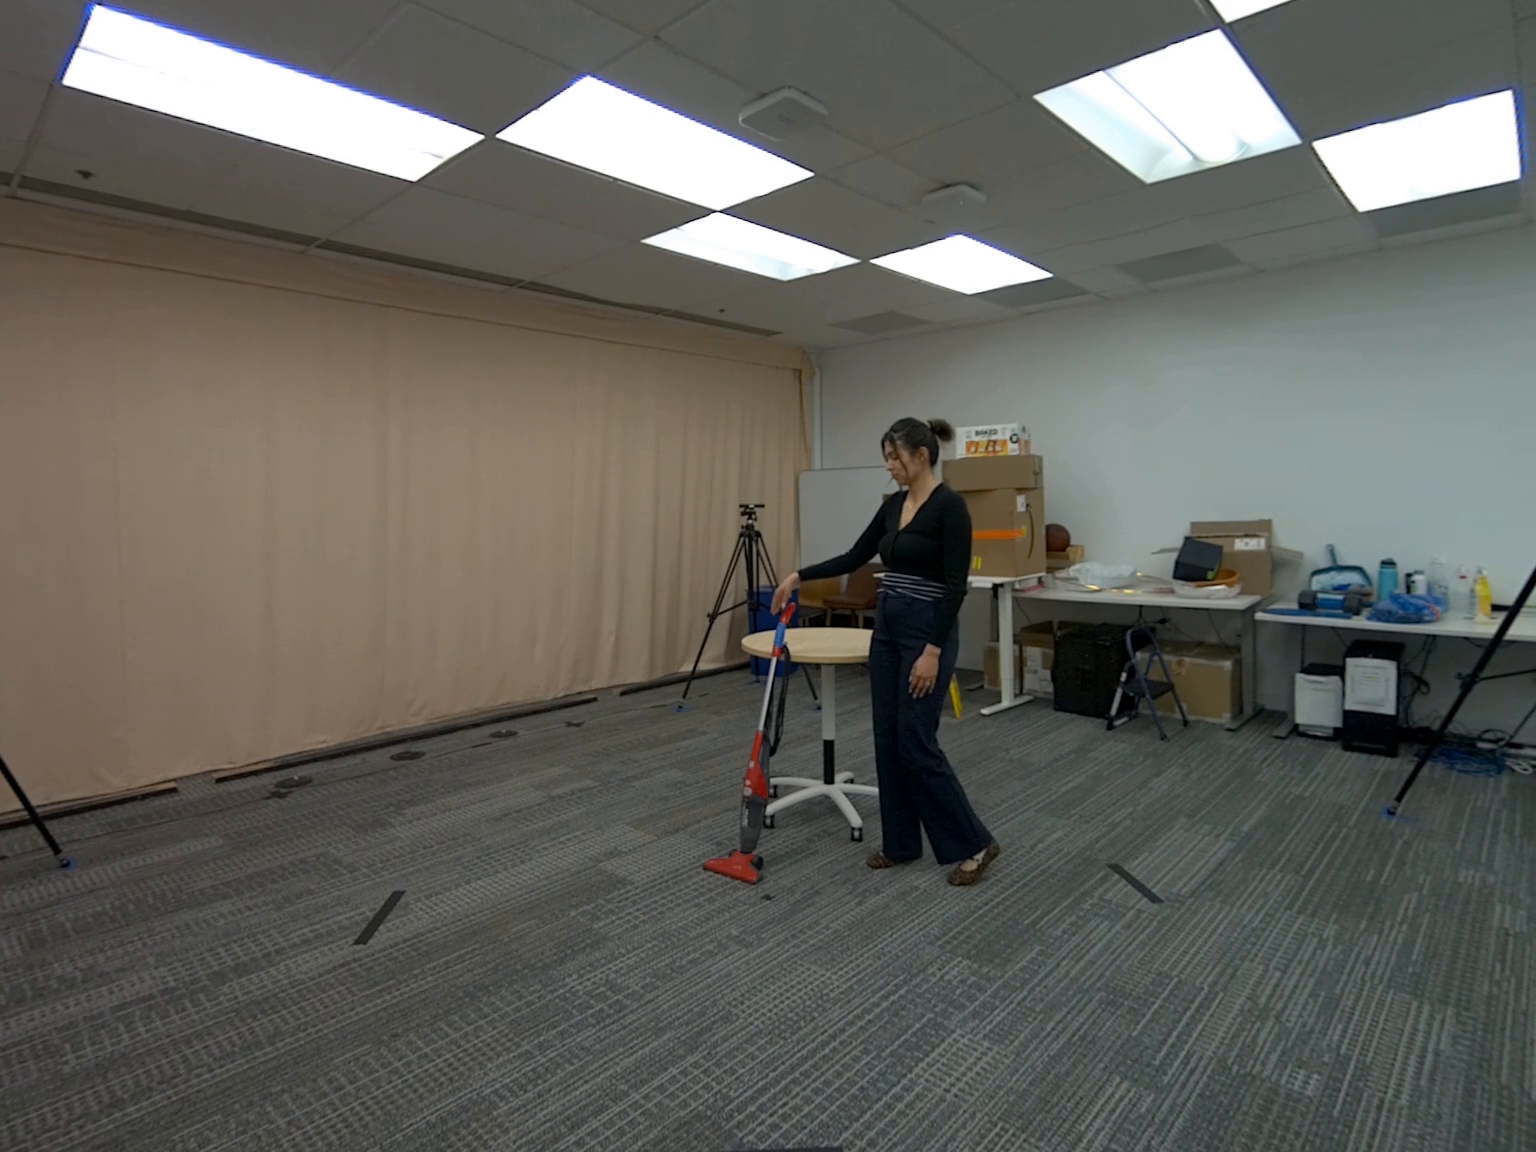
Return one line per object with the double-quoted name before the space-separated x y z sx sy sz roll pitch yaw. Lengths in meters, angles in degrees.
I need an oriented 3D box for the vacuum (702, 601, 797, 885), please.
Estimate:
"vacuum" -0.007 0.629 3.344 0.261 1.055 0.139 1 -19 38
